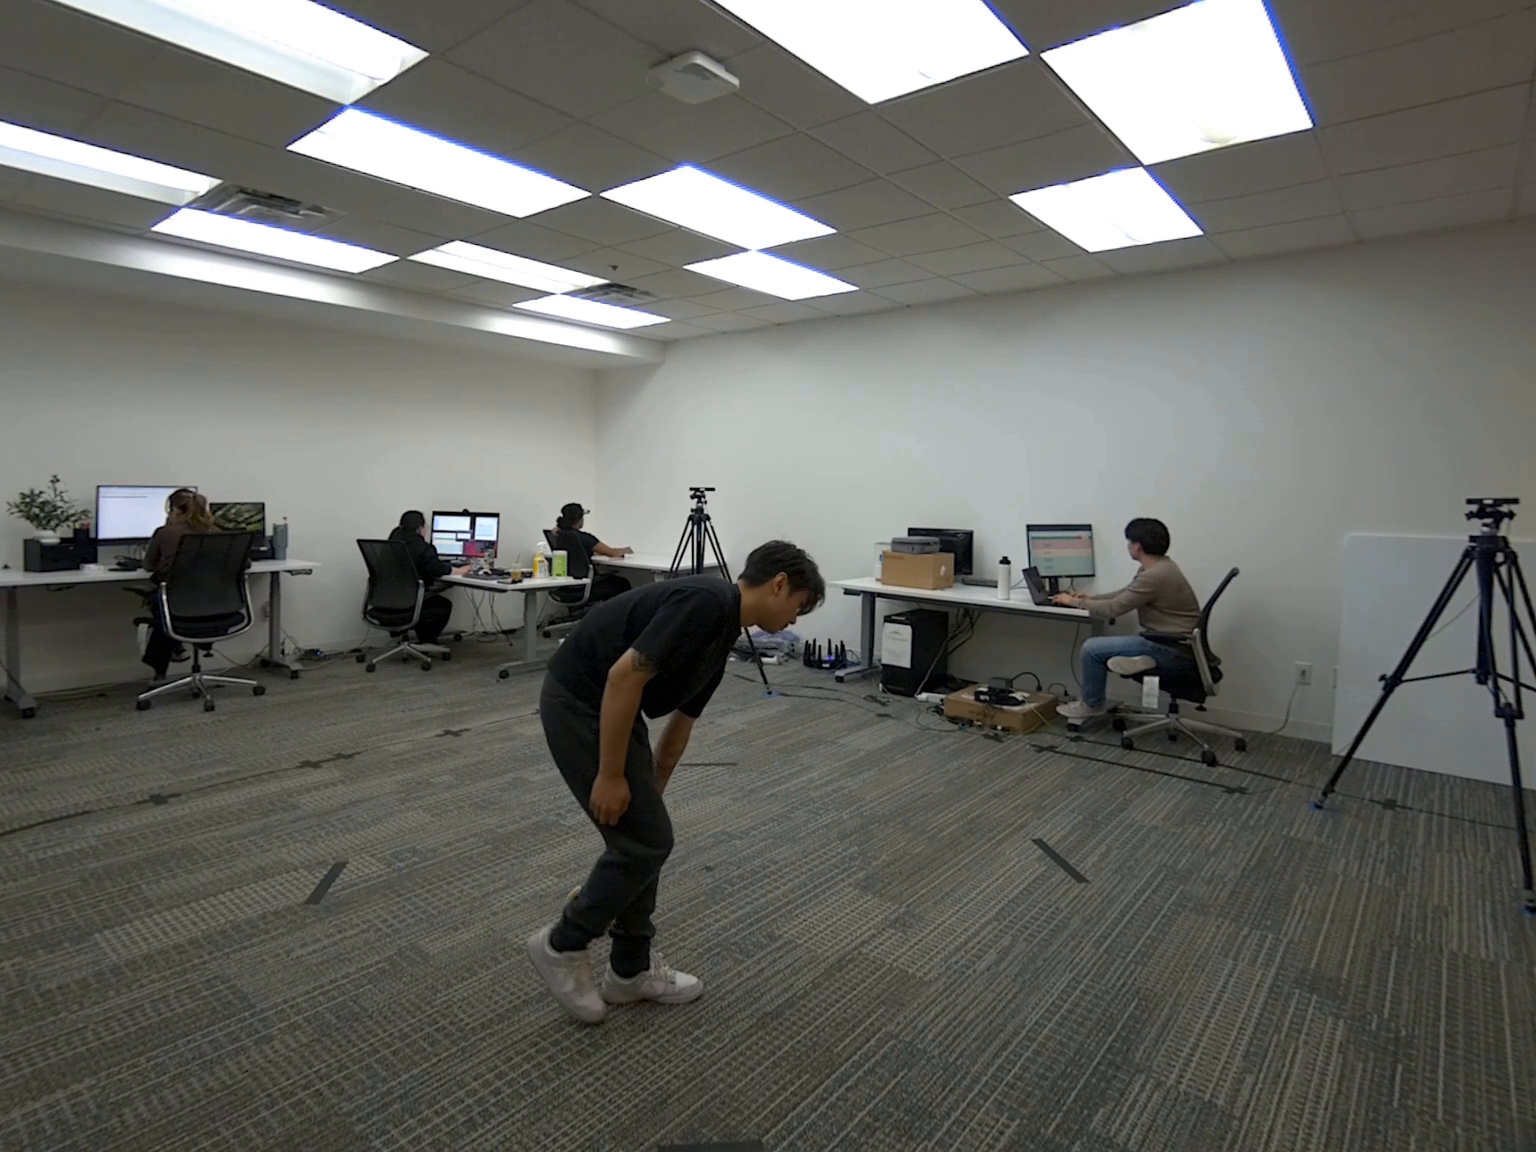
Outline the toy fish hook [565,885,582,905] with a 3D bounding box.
[{"bbox_3d":[-0.491,0.893,2.572,0.218,0.499,0.050,2,33,-29],"label":"toy fish hook"}]
